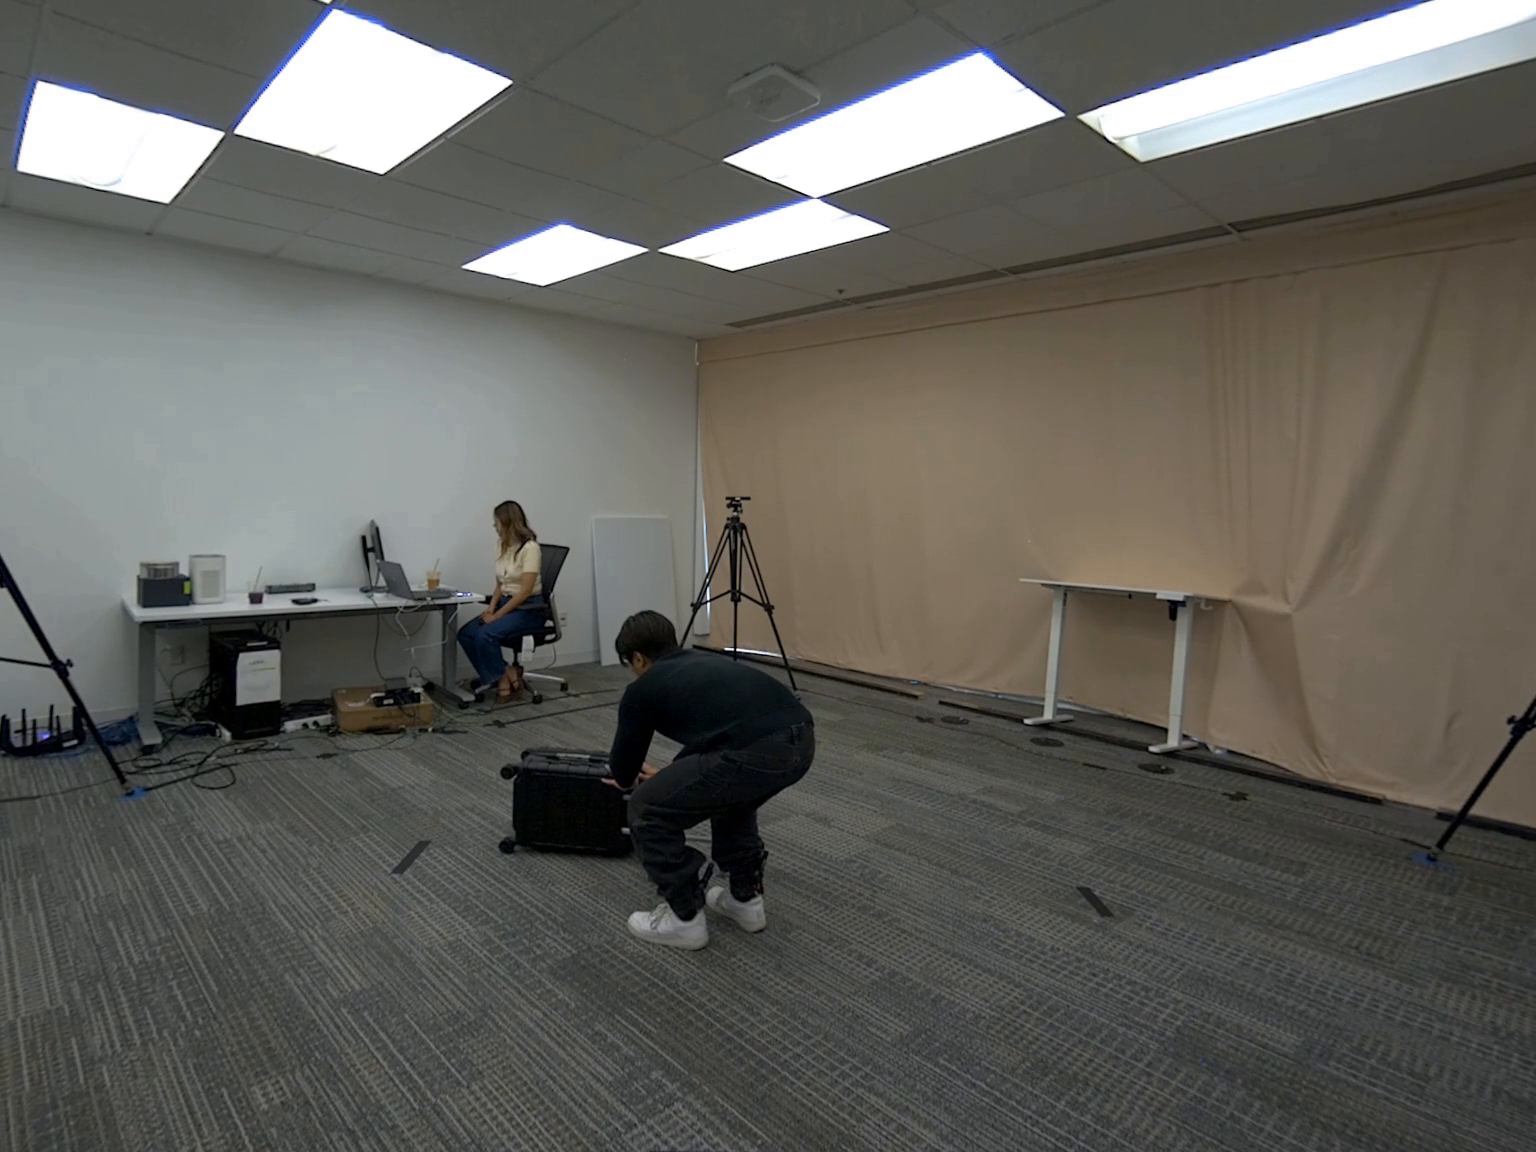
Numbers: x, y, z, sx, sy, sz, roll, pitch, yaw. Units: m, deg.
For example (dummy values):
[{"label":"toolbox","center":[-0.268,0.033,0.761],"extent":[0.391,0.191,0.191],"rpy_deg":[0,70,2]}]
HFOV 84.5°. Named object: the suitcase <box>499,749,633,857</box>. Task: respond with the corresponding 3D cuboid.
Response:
[{"label":"suitcase","center":[-0.548,0.897,3.307],"extent":[0.984,0.383,0.256],"rpy_deg":[2,5,7]}]
